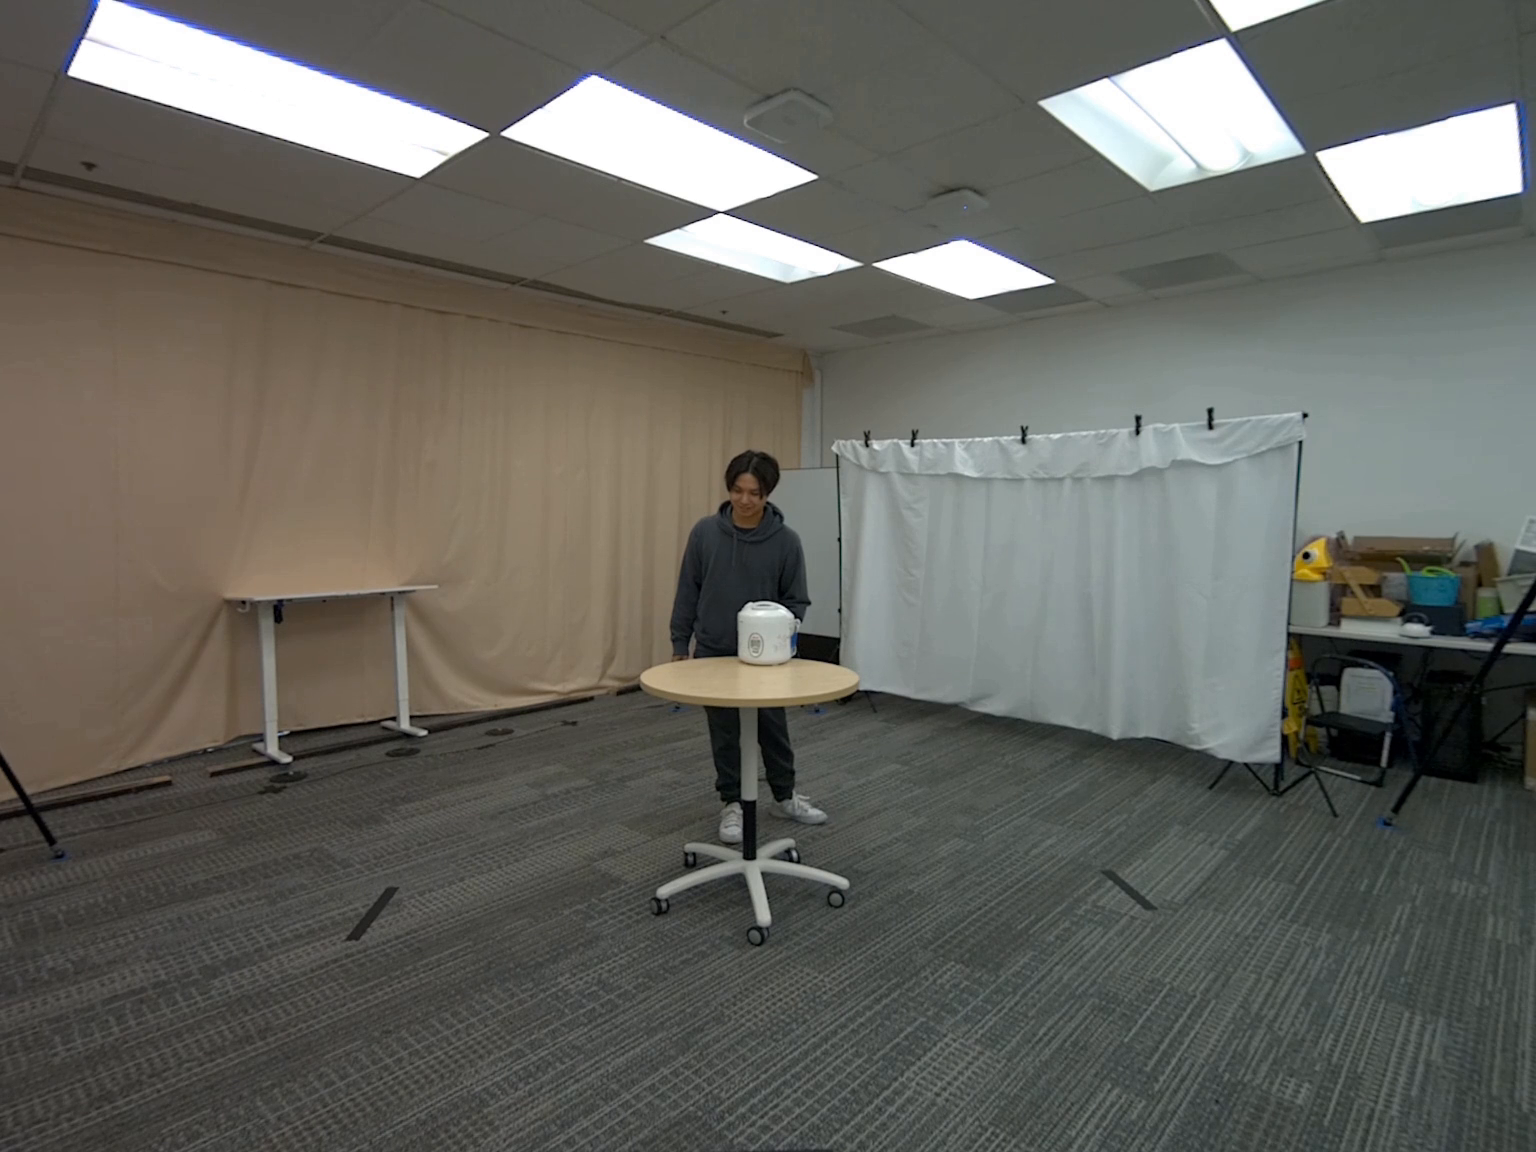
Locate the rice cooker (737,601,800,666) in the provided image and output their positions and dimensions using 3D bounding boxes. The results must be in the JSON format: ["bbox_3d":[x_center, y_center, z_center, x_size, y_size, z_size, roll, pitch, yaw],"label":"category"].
[{"bbox_3d":[-0.010,0.212,3.221,0.225,0.232,0.213,1,3,21],"label":"rice cooker"}]
